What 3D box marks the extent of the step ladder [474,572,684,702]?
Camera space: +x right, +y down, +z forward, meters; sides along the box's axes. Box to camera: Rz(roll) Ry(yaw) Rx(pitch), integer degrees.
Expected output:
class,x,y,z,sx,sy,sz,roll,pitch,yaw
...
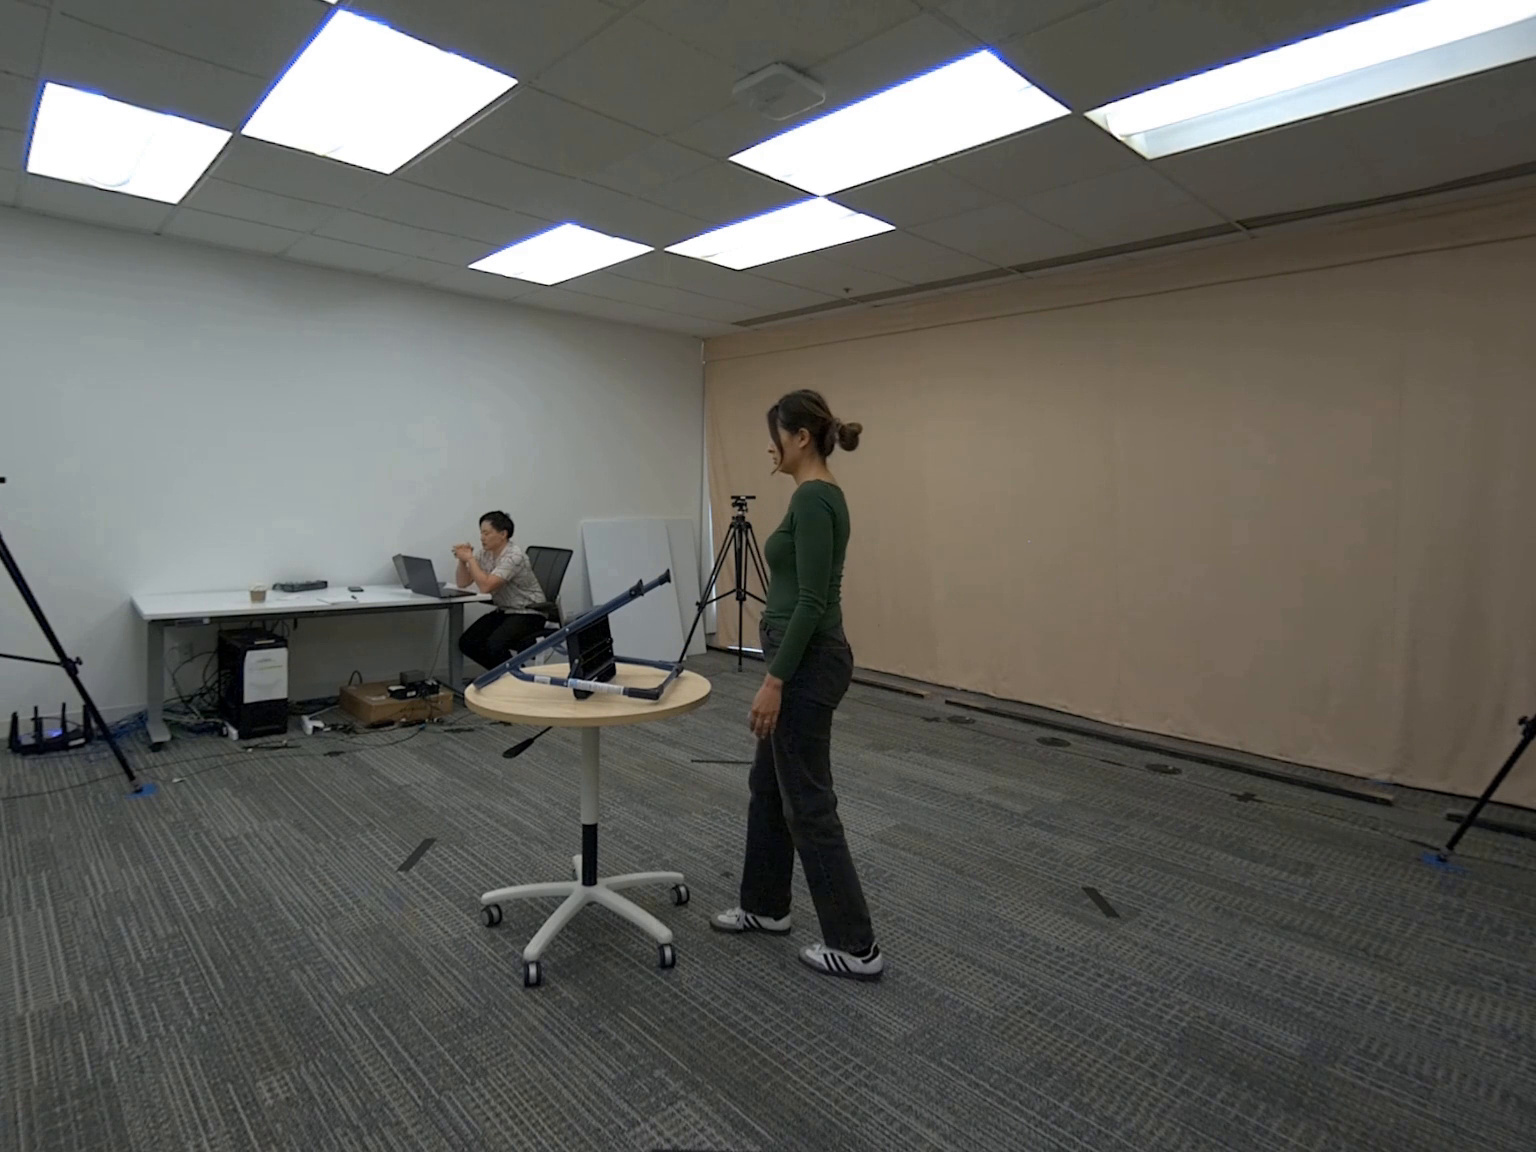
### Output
class,x,y,z,sx,sy,sz,roll,pitch,yaw
step ladder,-0.623,0.219,2.658,0.609,0.349,0.429,-9,3,7
